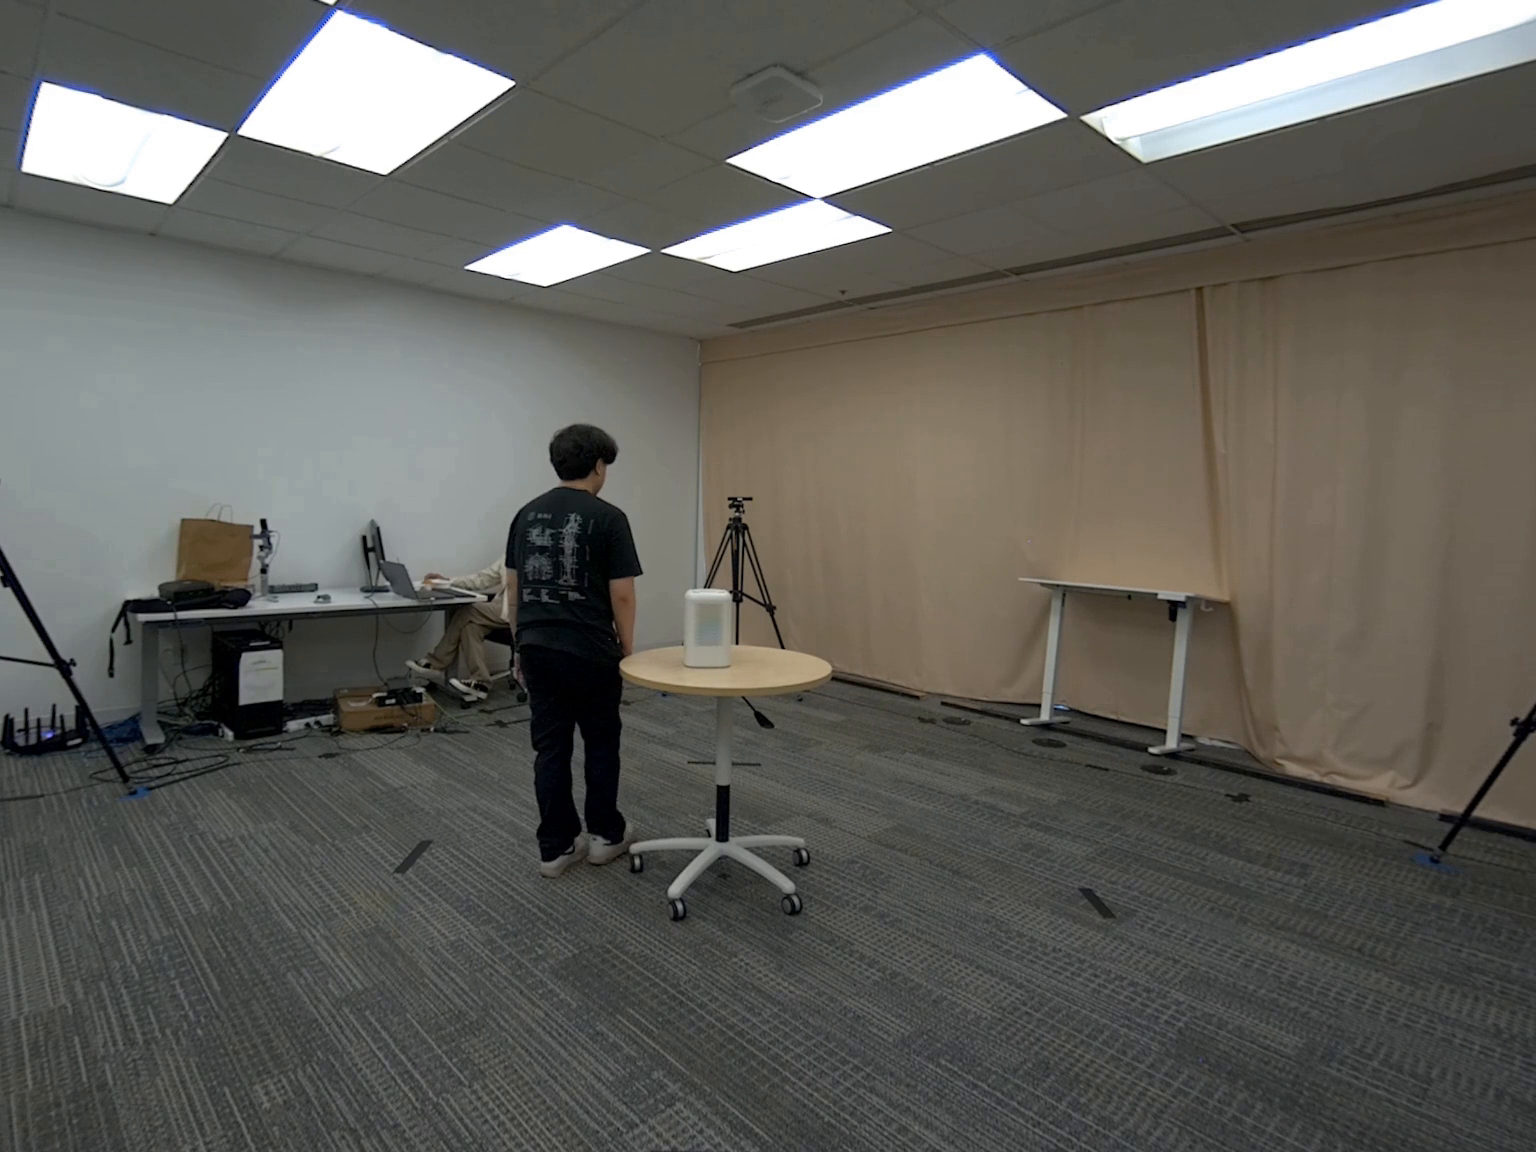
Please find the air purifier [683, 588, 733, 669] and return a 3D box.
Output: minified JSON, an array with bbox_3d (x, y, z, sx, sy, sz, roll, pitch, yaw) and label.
[{"bbox_3d":[-0.228,0.184,3.043,0.171,0.265,0.172,1,4,-3],"label":"air purifier"}]
